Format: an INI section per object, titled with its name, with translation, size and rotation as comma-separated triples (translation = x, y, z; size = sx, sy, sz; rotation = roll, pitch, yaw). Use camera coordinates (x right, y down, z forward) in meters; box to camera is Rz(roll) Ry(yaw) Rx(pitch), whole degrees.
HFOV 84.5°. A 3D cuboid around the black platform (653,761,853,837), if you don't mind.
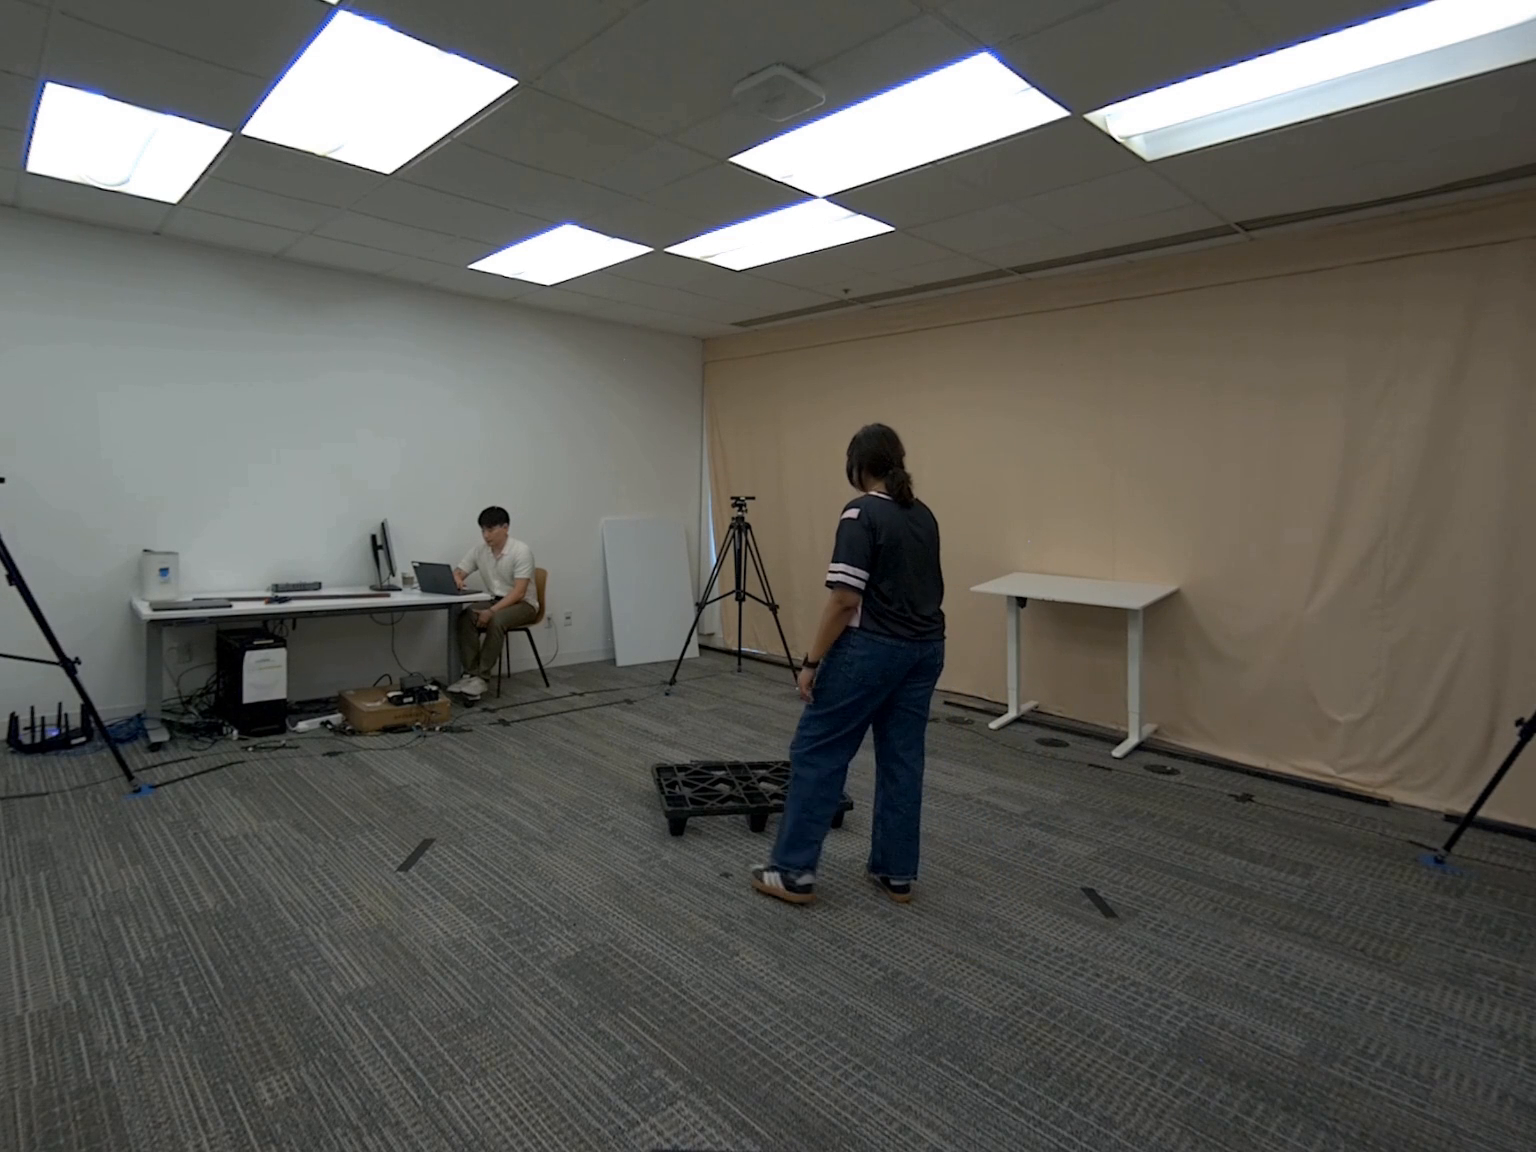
[black platform]
translation = -0.099, 0.984, 3.746
size = 0.798, 0.143, 0.613
rotation = 0, 6, -12
